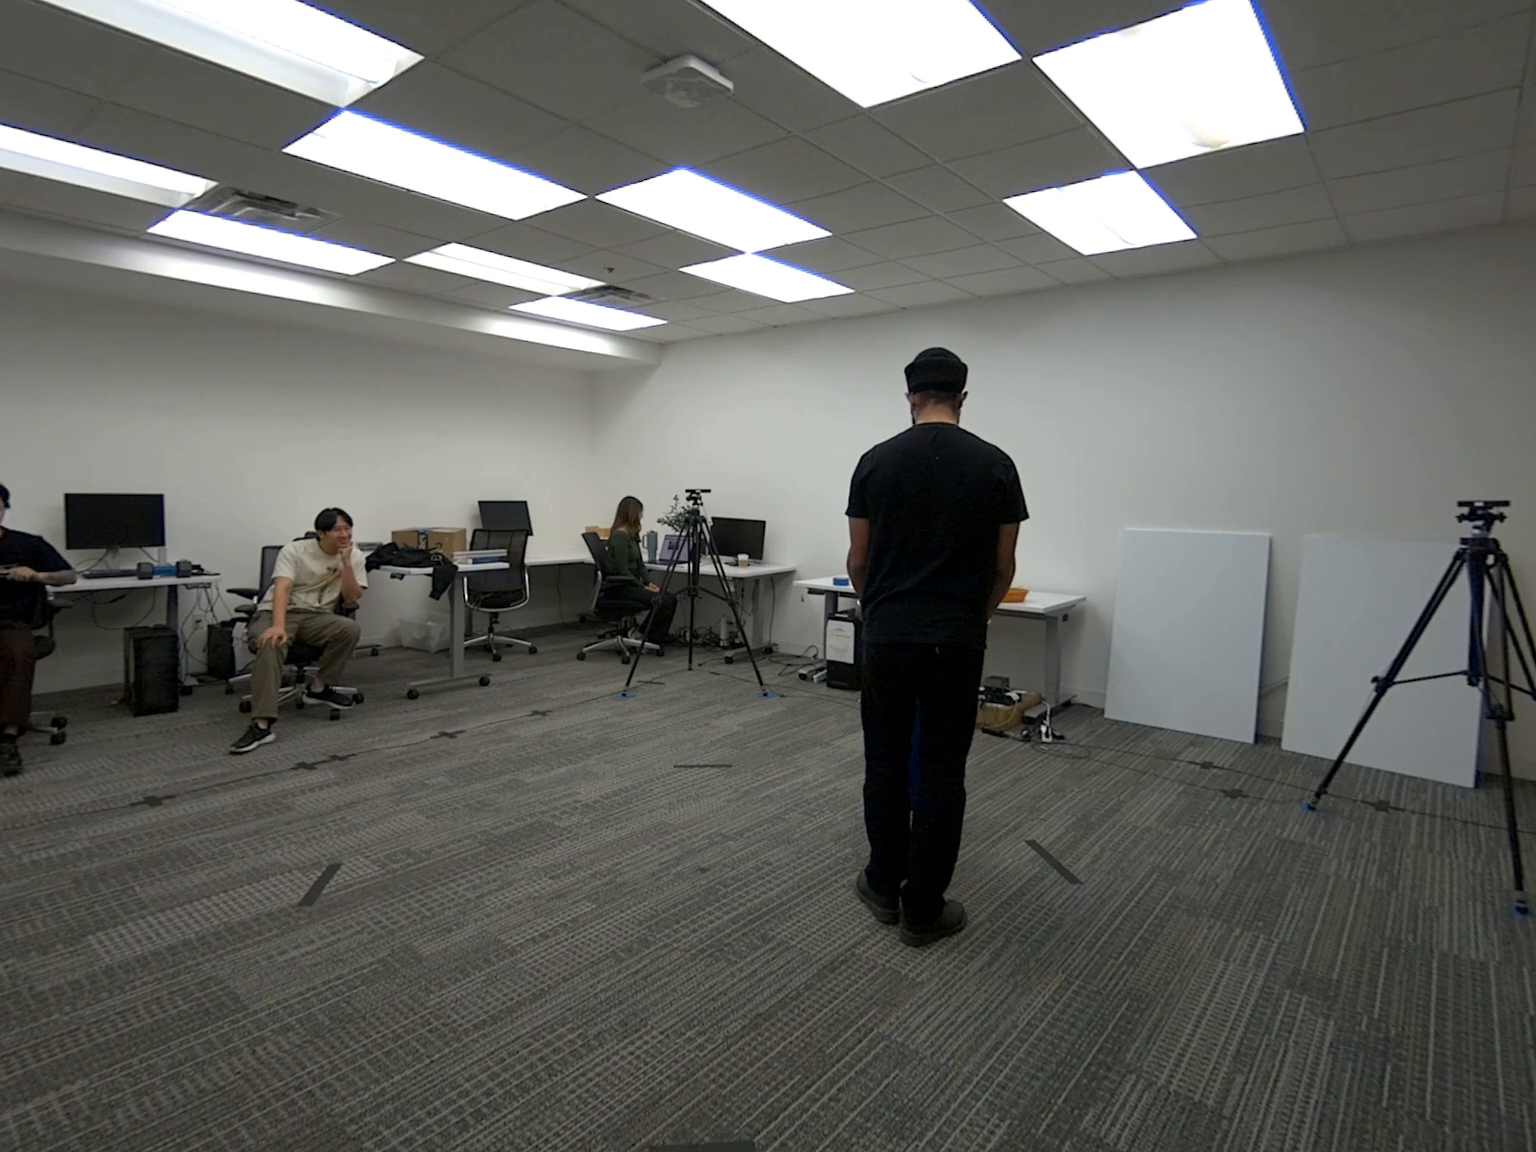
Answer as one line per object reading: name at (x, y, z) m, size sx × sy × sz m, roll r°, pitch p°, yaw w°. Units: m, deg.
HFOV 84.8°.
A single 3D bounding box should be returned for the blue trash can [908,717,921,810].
blue trash can at (0.562, 0.483, 3.188) m, size 0.385 × 0.713 × 0.368 m, roll 2°, pitch 1°, yaw 16°
